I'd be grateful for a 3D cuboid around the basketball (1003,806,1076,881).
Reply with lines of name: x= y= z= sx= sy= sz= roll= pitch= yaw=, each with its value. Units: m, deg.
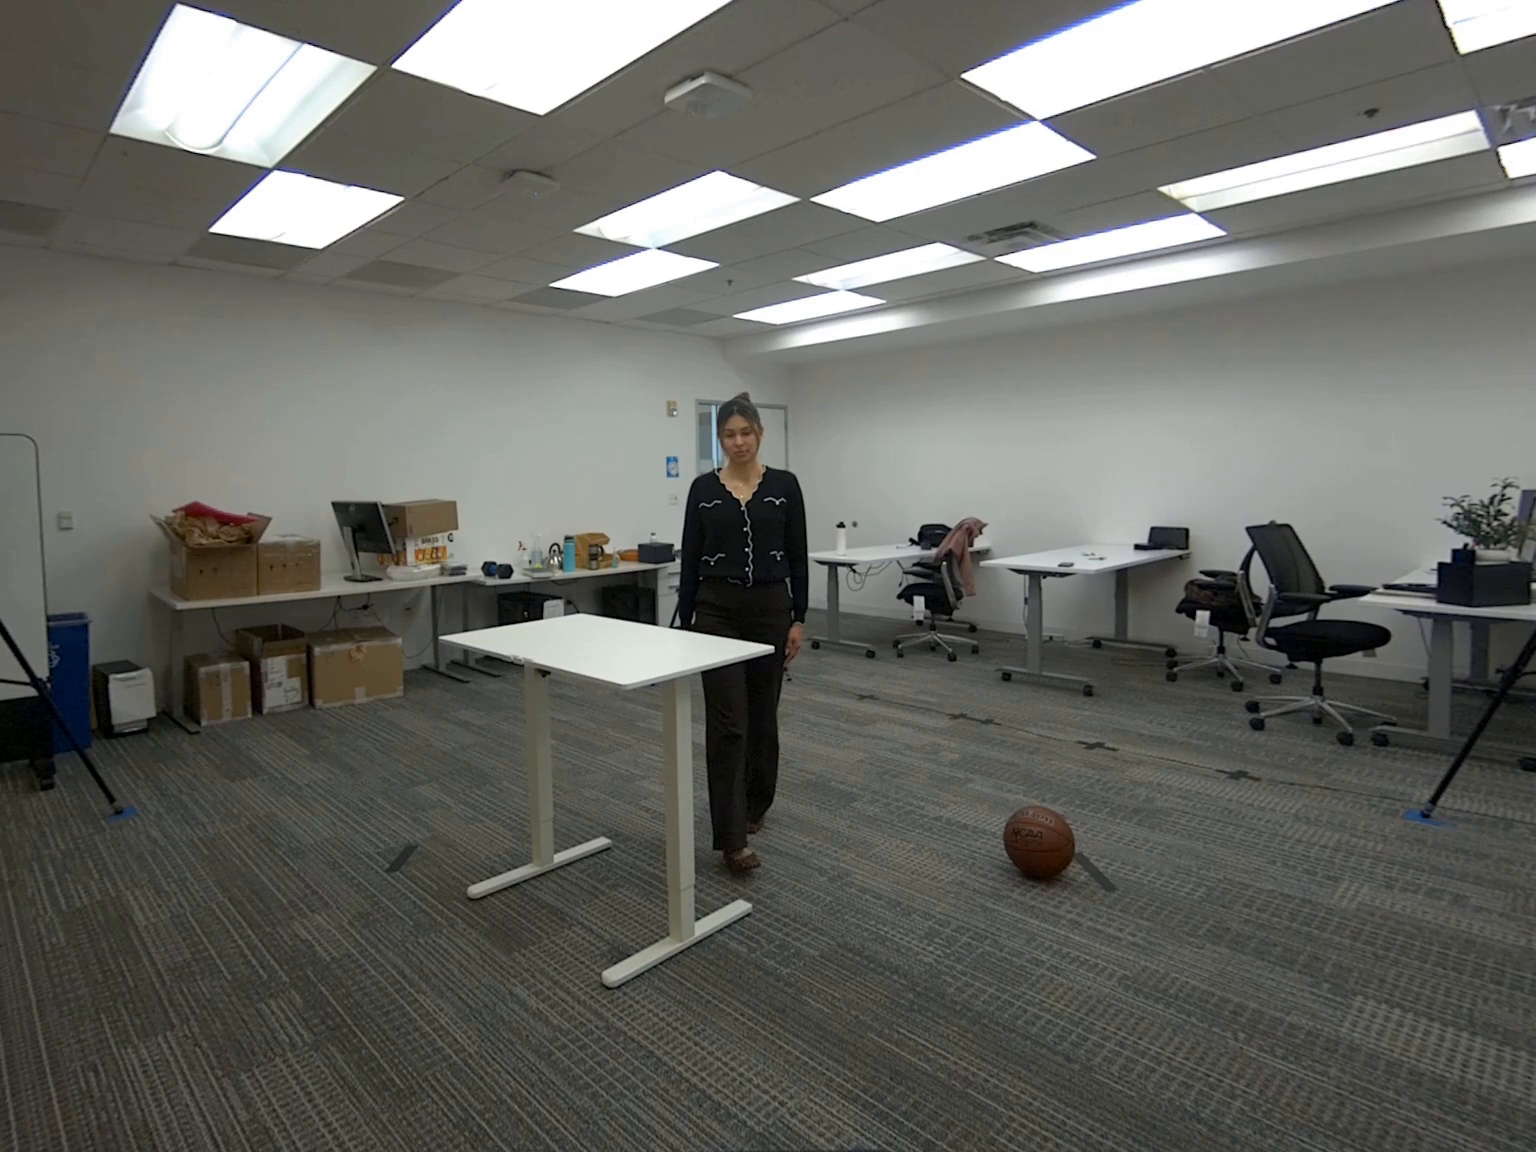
basketball: x=0.947 y=0.925 z=2.971 sx=0.236 sy=0.235 sz=0.237 roll=-1 pitch=5 yaw=-2
